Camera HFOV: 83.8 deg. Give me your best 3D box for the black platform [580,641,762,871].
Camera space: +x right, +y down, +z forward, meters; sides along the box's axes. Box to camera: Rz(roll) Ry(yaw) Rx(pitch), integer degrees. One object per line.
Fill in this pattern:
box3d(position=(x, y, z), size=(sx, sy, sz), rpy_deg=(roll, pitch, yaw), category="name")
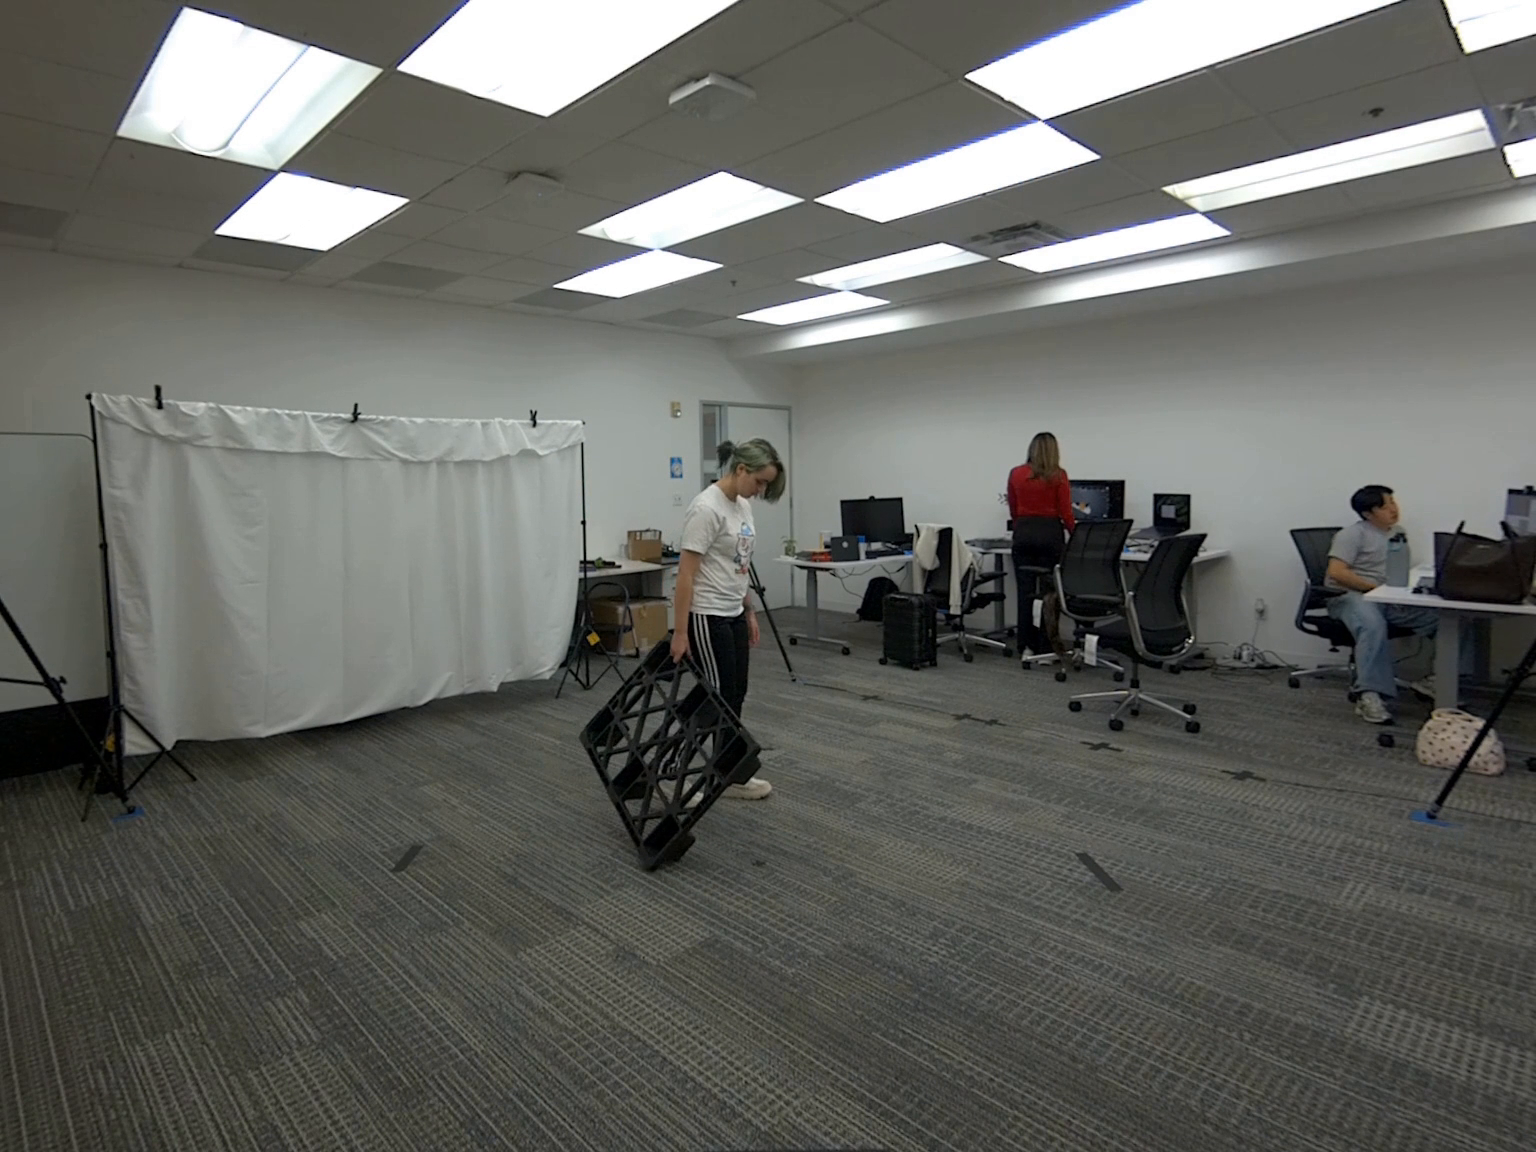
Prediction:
box3d(position=(-0.397, 0.676, 3.385), size=(0.138, 0.605, 0.837), rpy_deg=(38, 3, -39), category="black platform")
